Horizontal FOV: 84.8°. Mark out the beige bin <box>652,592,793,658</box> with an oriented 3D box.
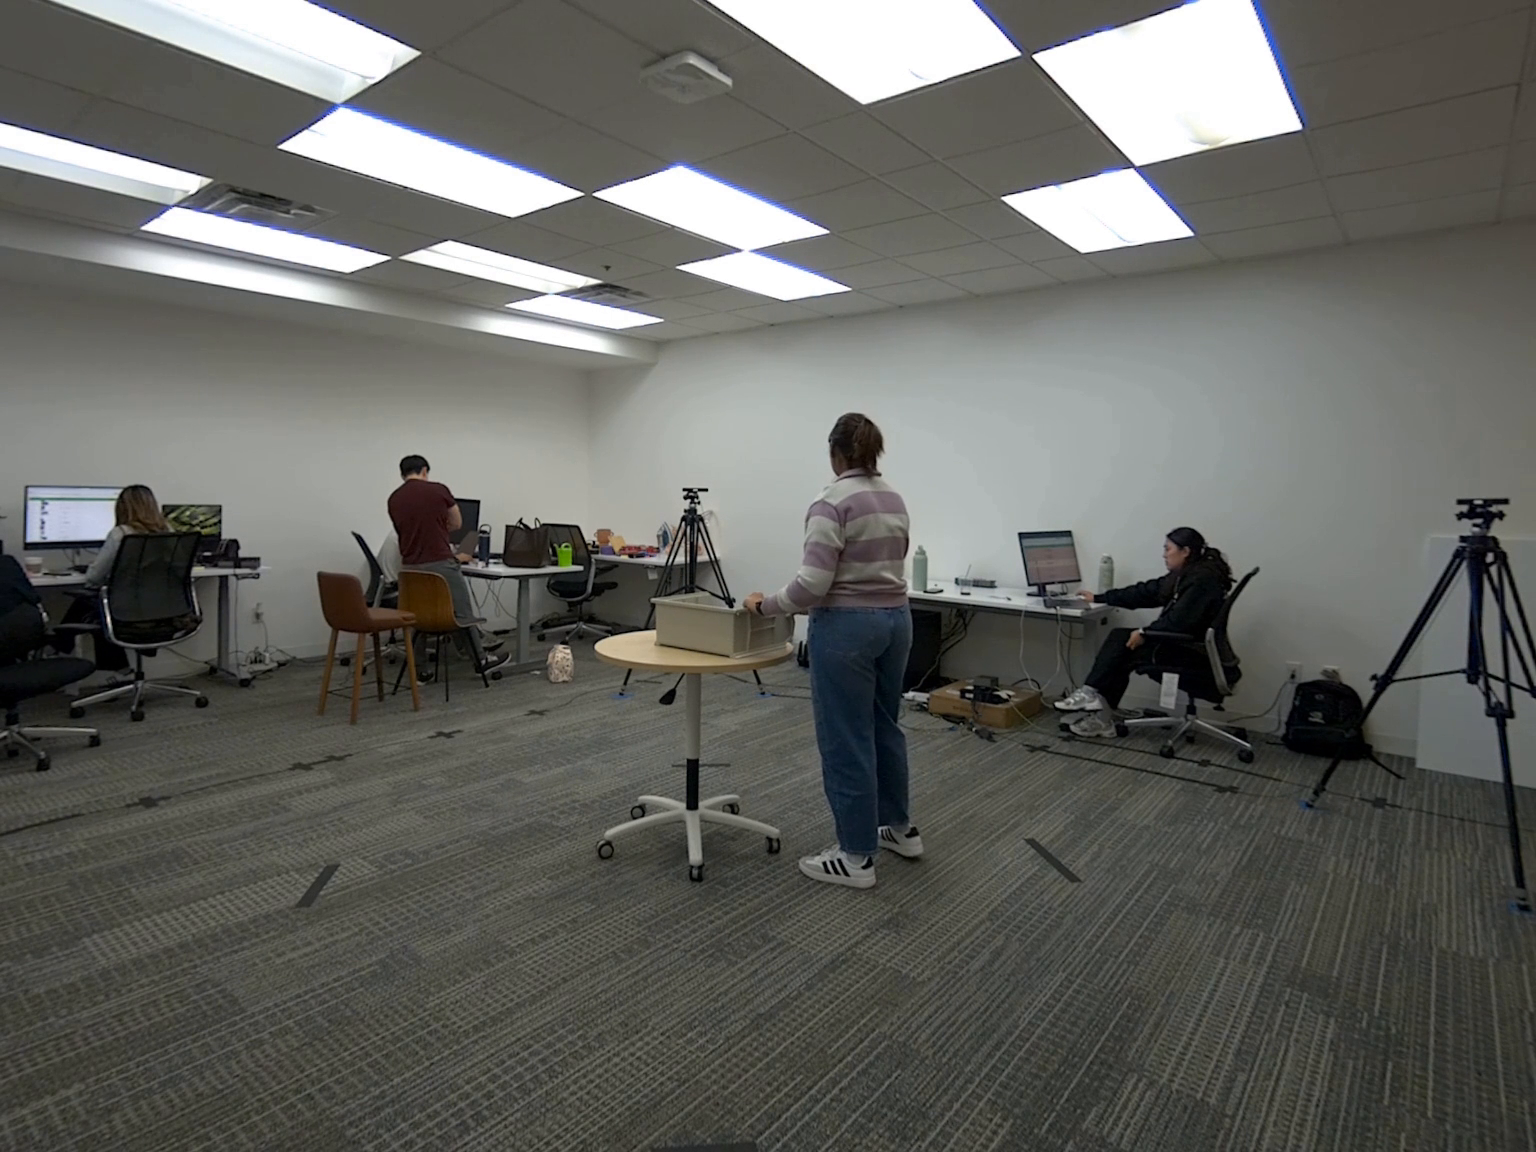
[{"bbox_3d":[-0.181,0.177,3.292,0.436,0.188,0.367,5,8,38],"label":"beige bin"}]
